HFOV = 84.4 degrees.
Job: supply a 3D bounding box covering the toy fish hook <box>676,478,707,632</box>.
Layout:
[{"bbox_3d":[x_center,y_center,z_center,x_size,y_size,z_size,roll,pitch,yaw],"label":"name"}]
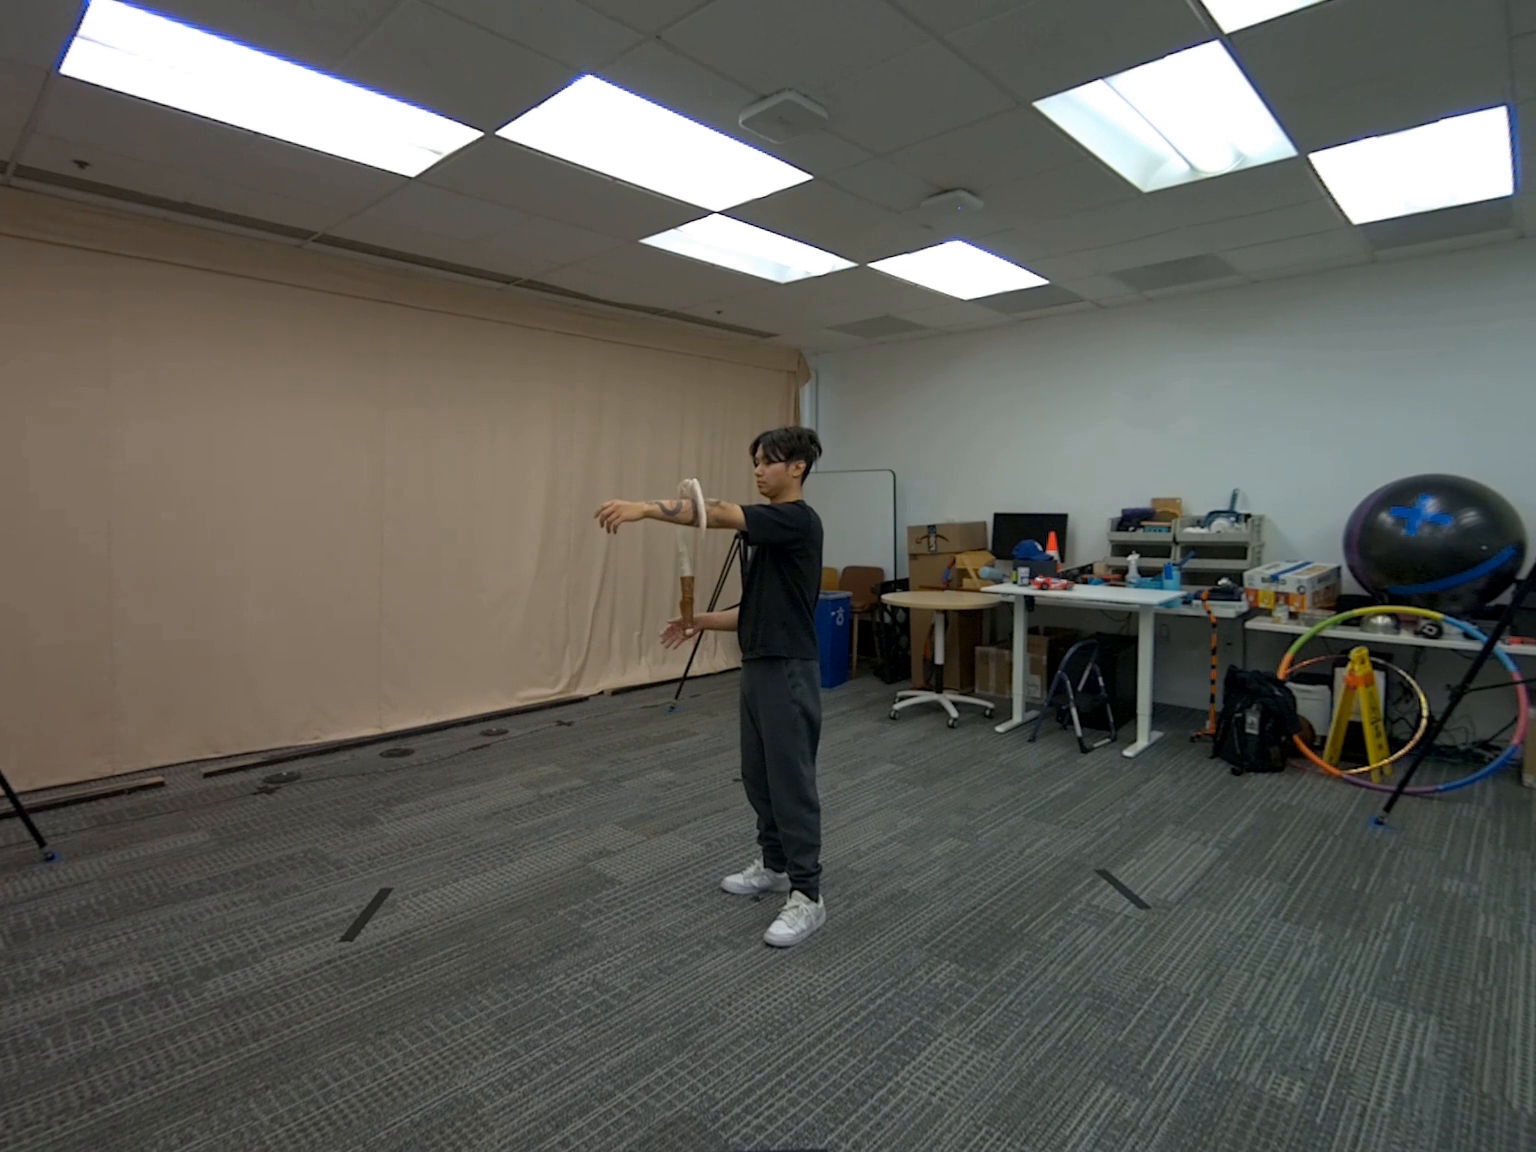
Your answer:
[{"bbox_3d":[-0.237,-0.046,2.648,0.047,0.505,0.230,-3,4,-22],"label":"toy fish hook"}]
